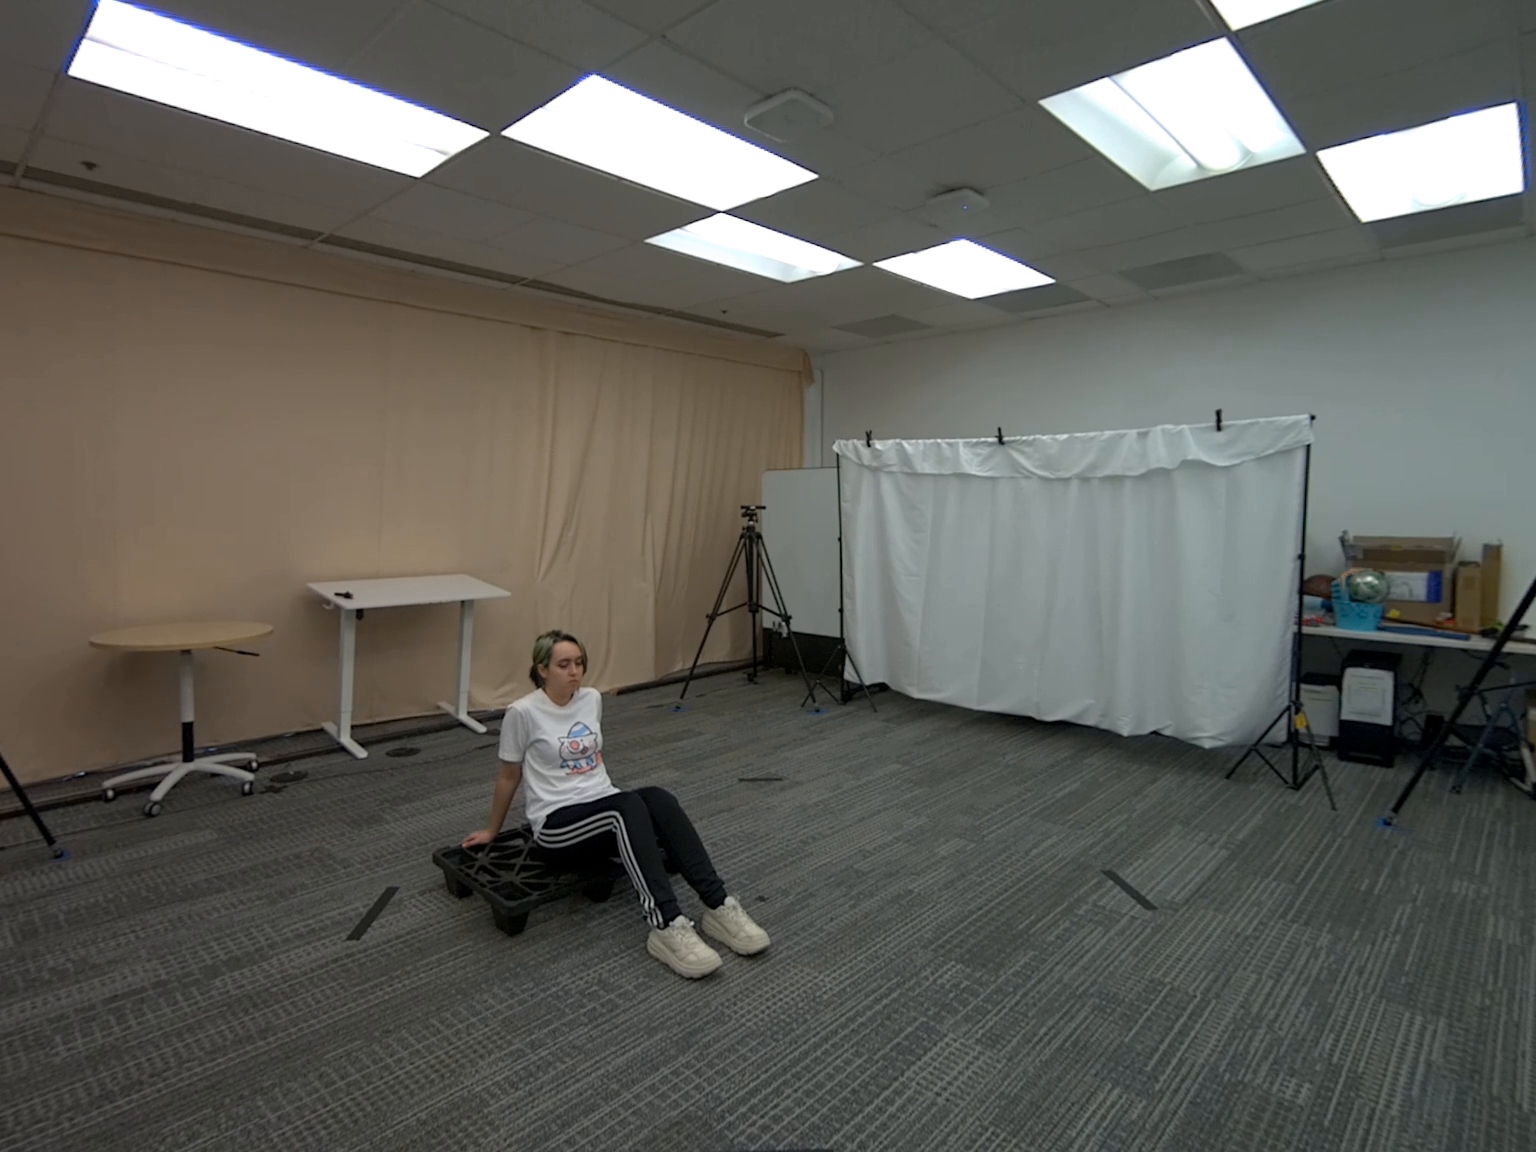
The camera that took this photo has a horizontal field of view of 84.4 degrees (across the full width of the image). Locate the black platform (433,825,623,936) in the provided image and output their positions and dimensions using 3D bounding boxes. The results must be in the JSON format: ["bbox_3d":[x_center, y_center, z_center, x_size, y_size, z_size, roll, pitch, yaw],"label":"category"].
[{"bbox_3d":[-0.744,1.069,3.145,0.781,0.143,0.625,-6,7,-43],"label":"black platform"}]
